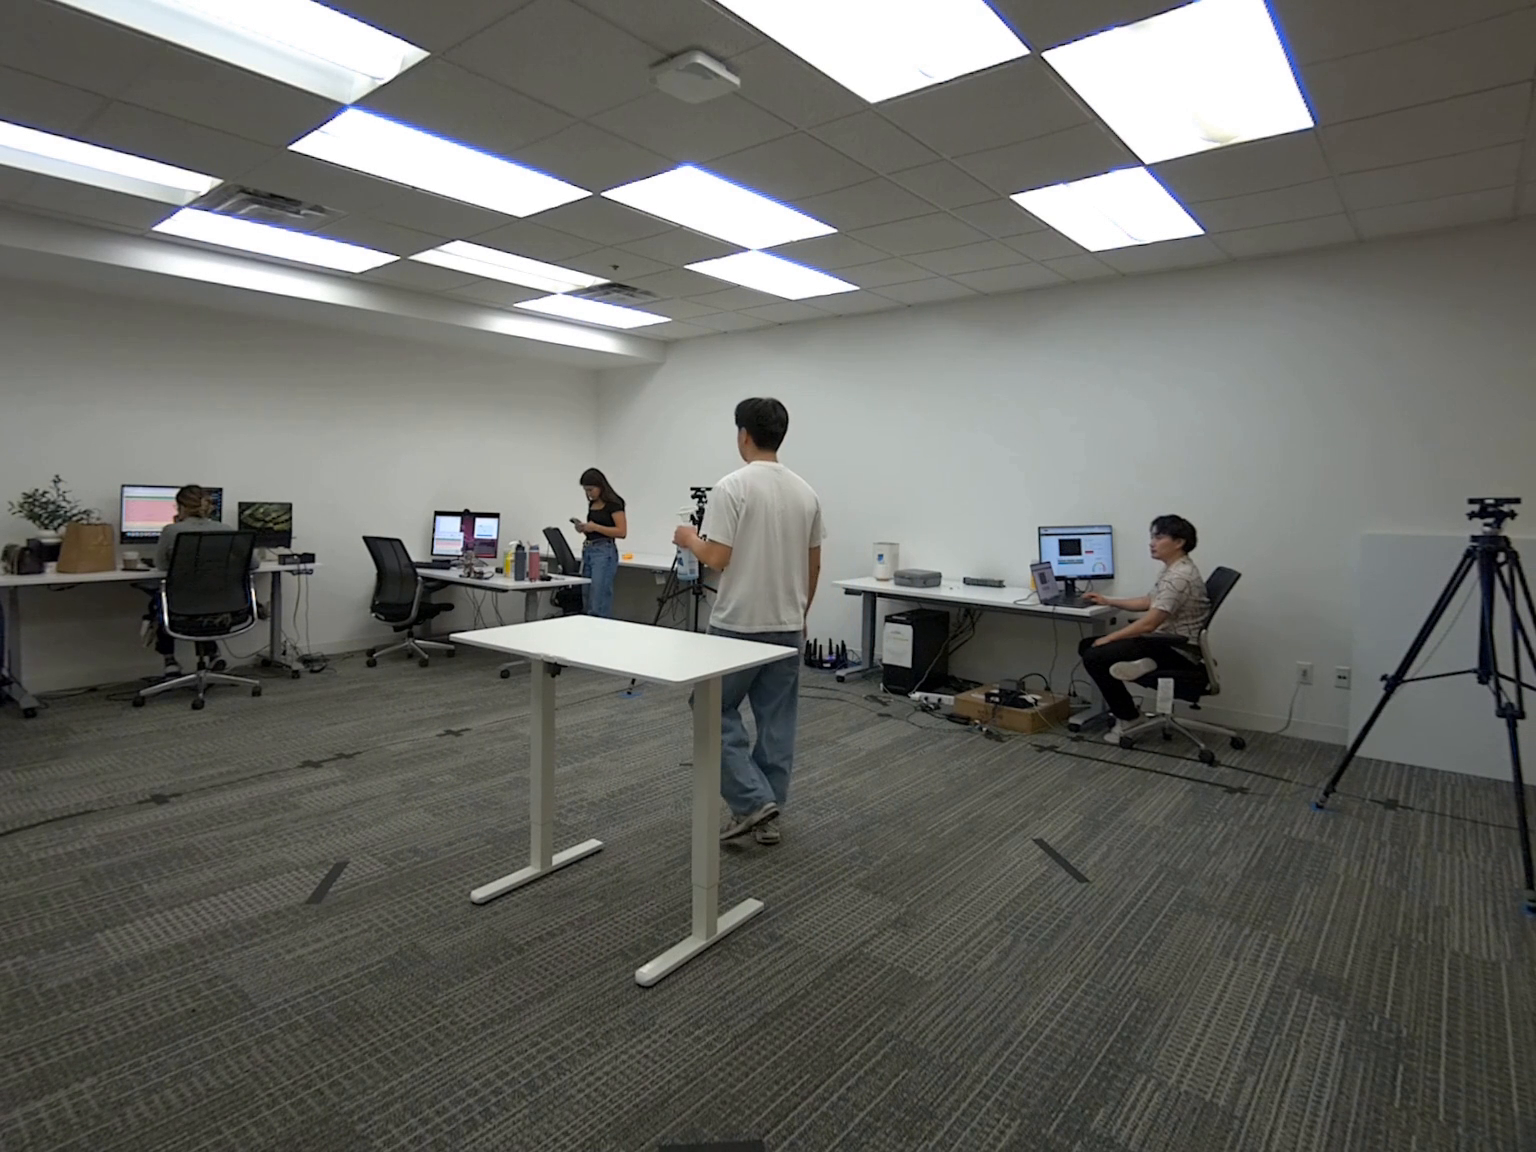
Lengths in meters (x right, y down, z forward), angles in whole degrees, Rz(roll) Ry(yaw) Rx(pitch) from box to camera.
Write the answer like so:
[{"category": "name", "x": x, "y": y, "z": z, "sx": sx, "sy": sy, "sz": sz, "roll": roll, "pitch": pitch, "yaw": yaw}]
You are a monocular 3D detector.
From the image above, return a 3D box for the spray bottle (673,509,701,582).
[{"category": "spray bottle", "x": -0.344, "y": -0.134, "z": 3.488, "sx": 0.093, "sy": 0.296, "sz": 0.085, "roll": 3, "pitch": 4, "yaw": 30}]
